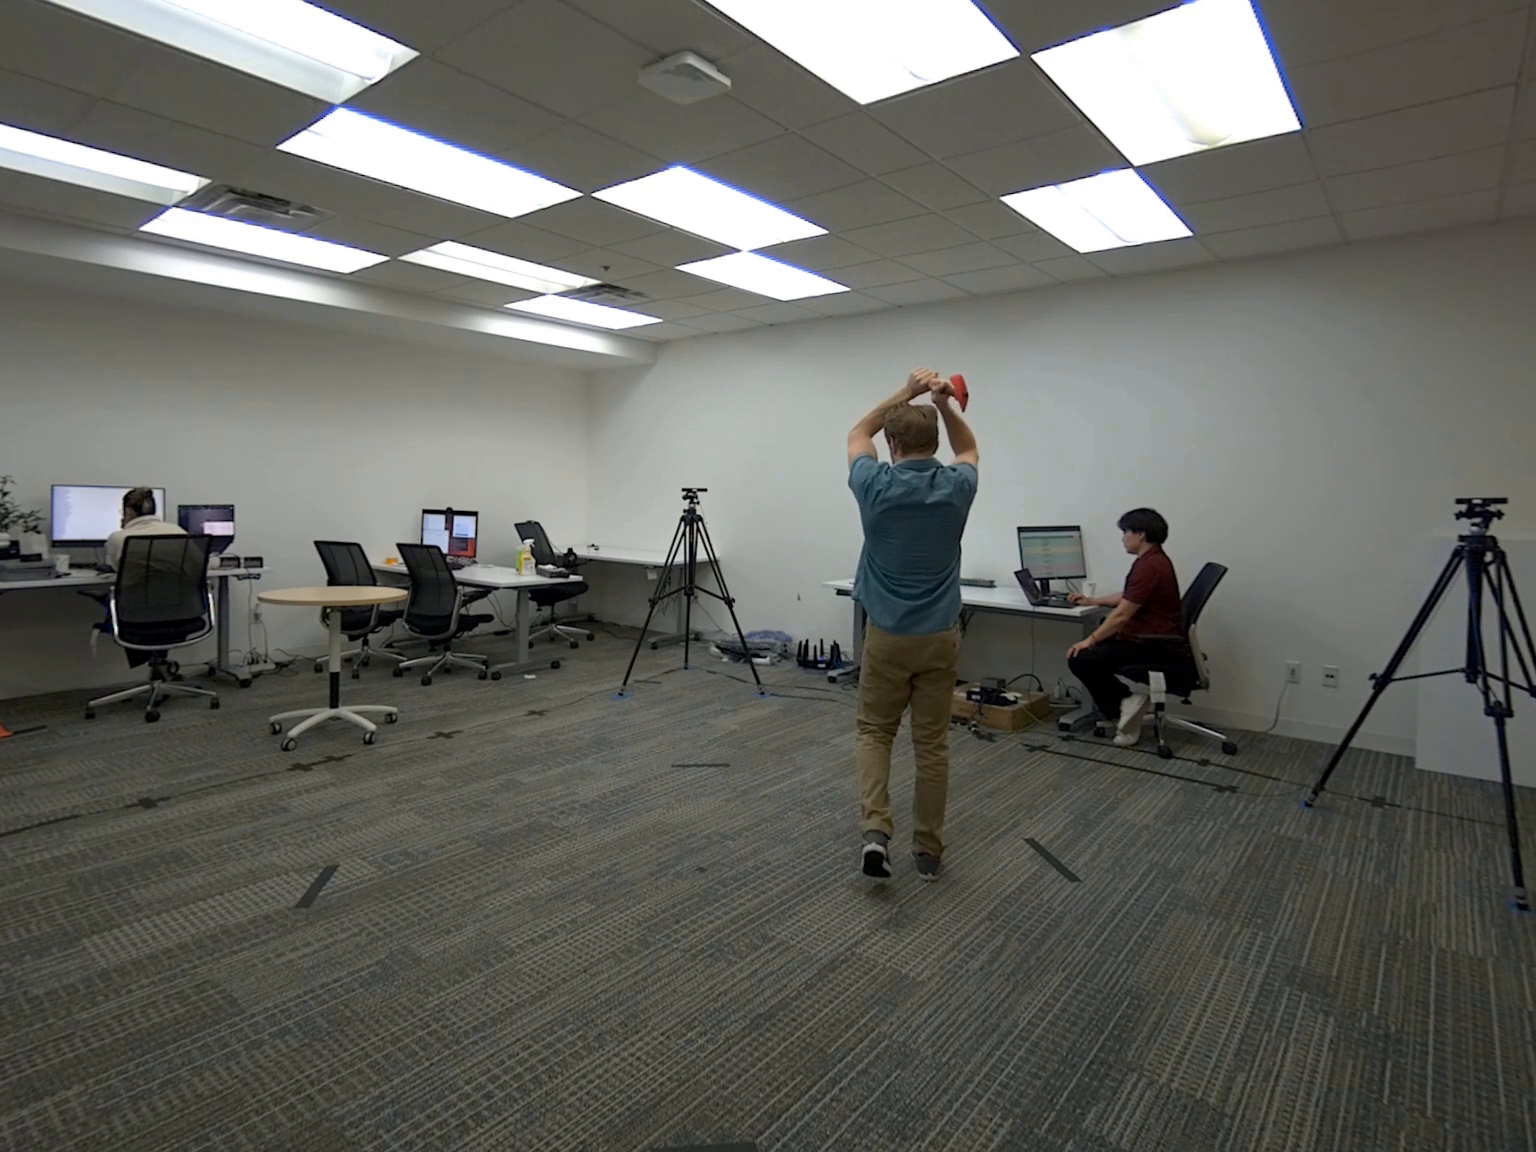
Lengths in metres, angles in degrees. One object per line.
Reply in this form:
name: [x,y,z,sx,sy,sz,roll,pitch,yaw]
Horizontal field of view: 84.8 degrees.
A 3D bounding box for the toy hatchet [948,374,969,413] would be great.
toy hatchet: [0.614,-0.692,2.999,0.029,0.127,0.281,-16,41,-15]
